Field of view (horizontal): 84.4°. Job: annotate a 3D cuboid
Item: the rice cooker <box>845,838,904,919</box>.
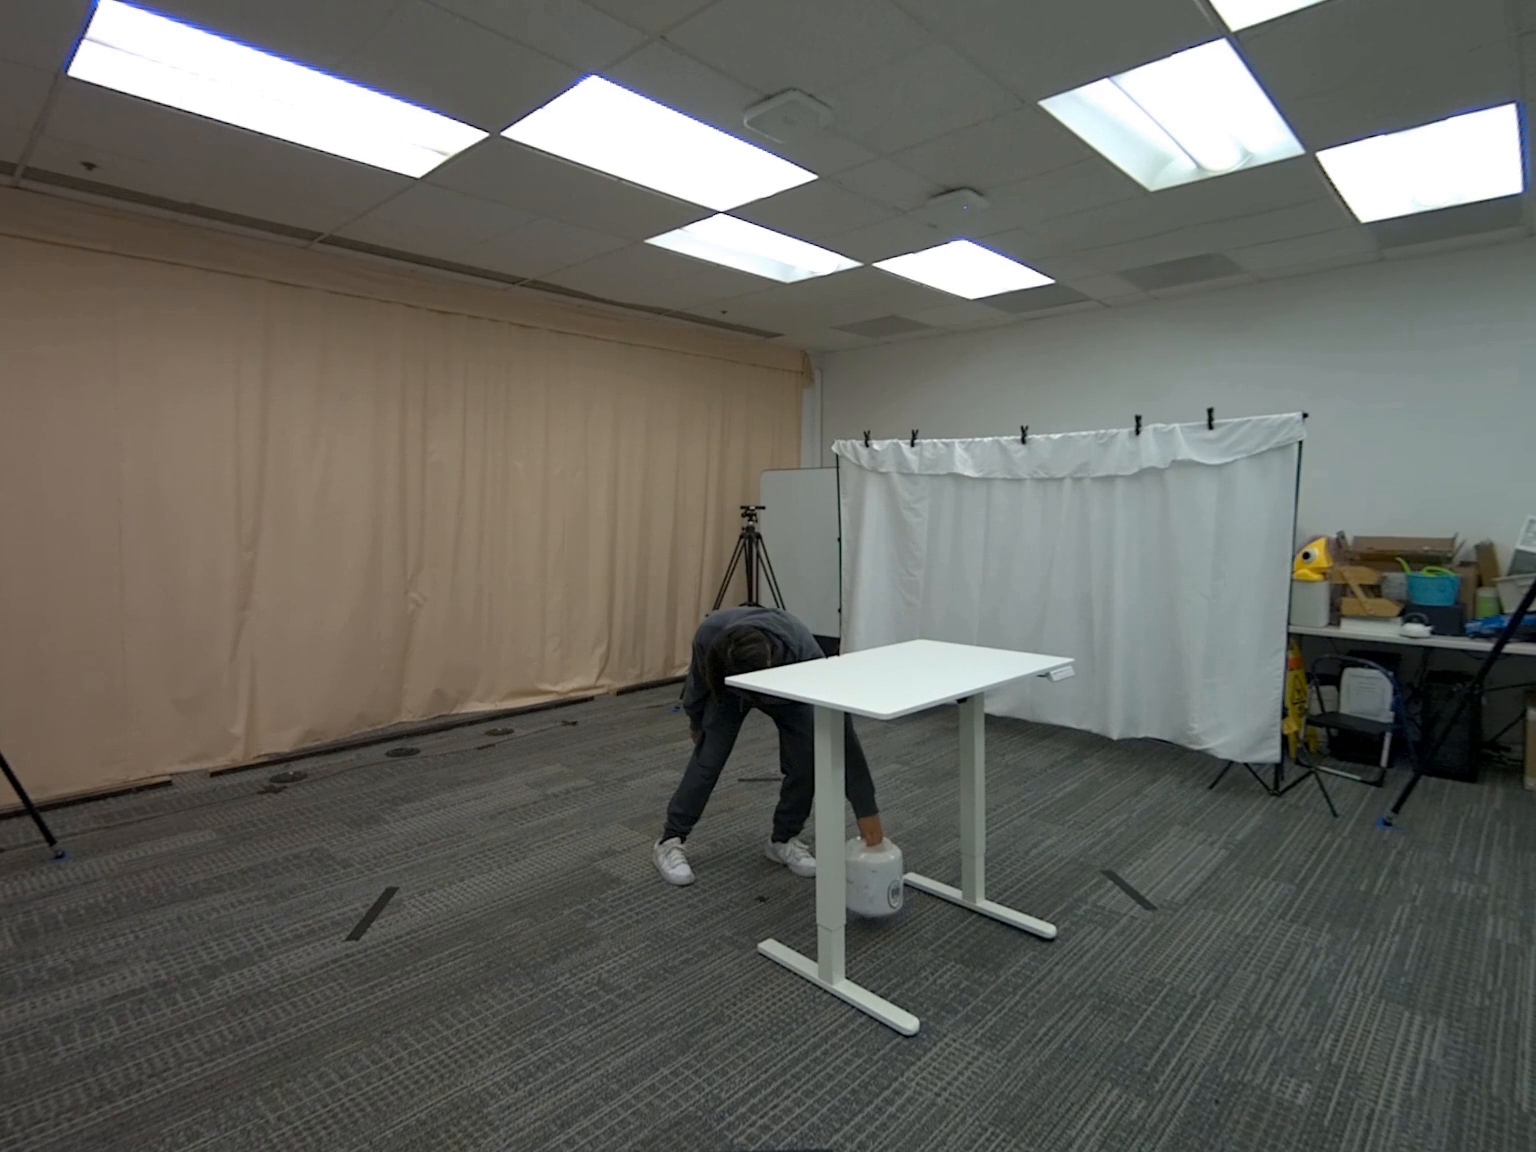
[{"bbox_3d":[0.349,0.983,2.792,0.214,0.233,0.224,-3,1,-35],"label":"rice cooker"}]
